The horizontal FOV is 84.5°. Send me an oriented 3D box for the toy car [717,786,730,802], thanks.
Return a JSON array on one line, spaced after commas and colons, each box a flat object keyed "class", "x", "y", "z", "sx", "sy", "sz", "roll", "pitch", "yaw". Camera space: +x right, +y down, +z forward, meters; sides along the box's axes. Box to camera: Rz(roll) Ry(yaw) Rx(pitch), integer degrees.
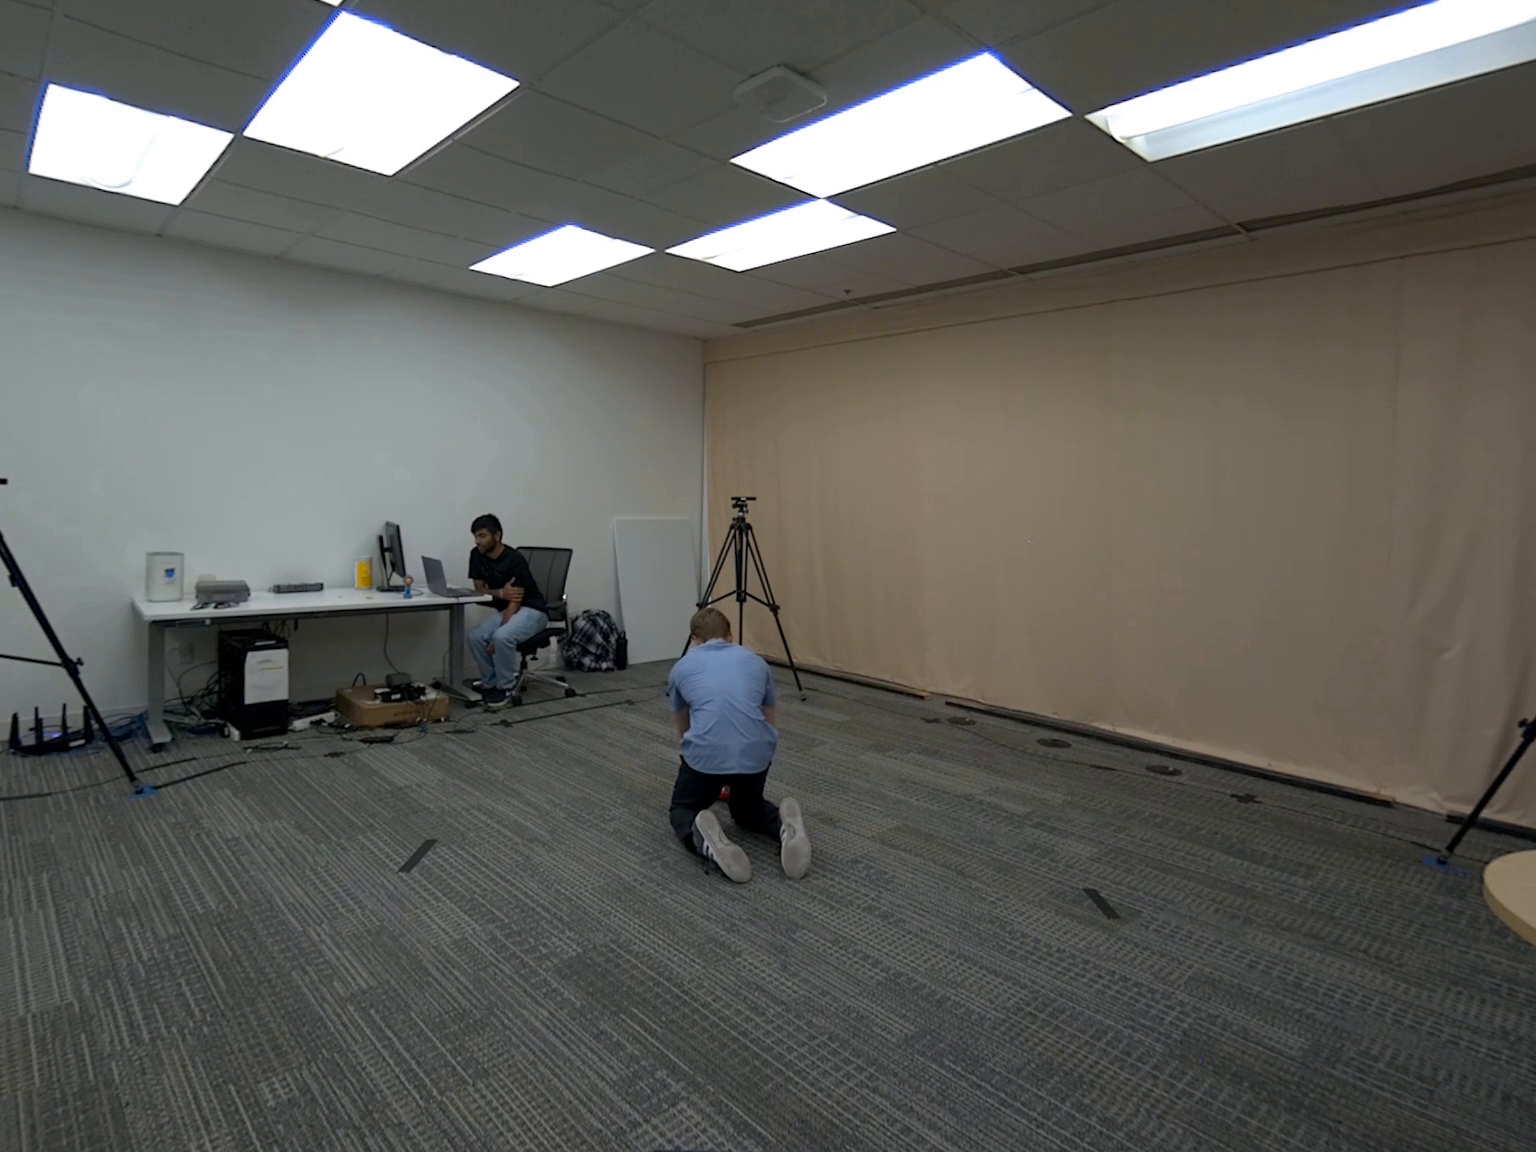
[{"class": "toy car", "x": -0.221, "y": 1.002, "z": 3.990, "sx": 0.130, "sy": 0.082, "sz": 0.257, "roll": 3, "pitch": 16, "yaw": 0}]
